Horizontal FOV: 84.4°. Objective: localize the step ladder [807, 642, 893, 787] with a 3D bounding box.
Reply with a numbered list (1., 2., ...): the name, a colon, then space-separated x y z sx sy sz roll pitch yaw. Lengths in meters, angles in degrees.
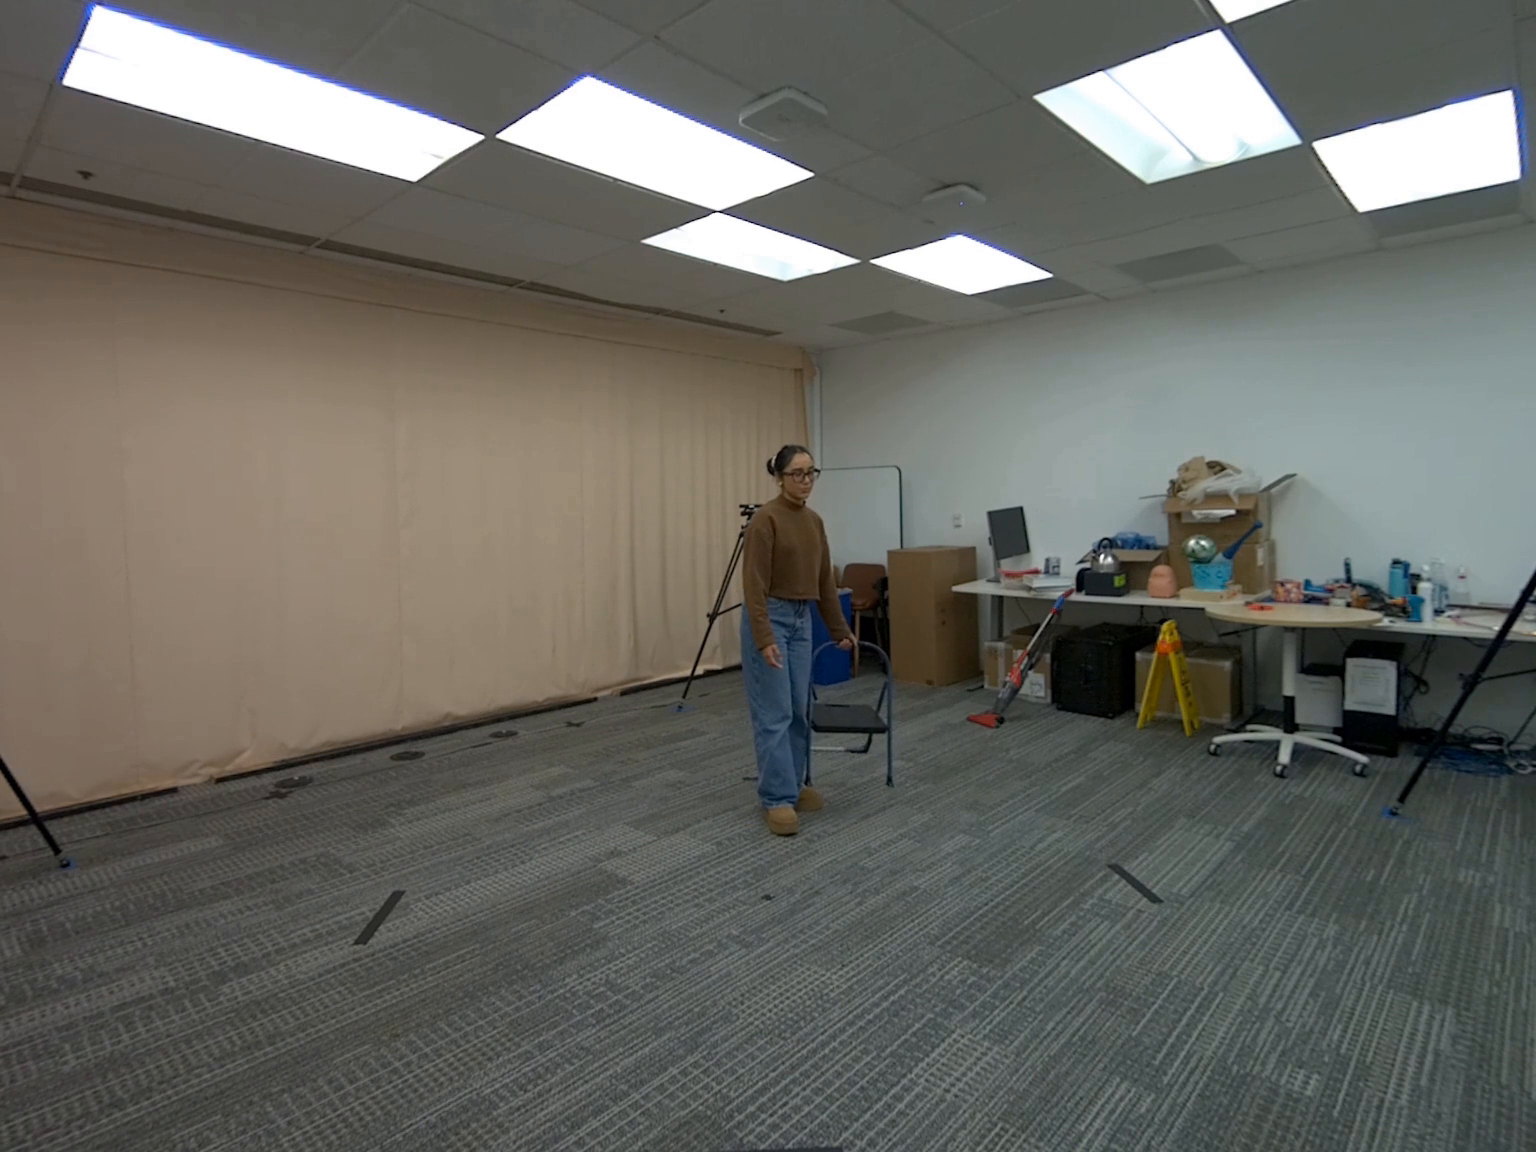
1. step ladder: 0.379 0.621 3.924 0.424 0.602 0.357 4 13 -14
